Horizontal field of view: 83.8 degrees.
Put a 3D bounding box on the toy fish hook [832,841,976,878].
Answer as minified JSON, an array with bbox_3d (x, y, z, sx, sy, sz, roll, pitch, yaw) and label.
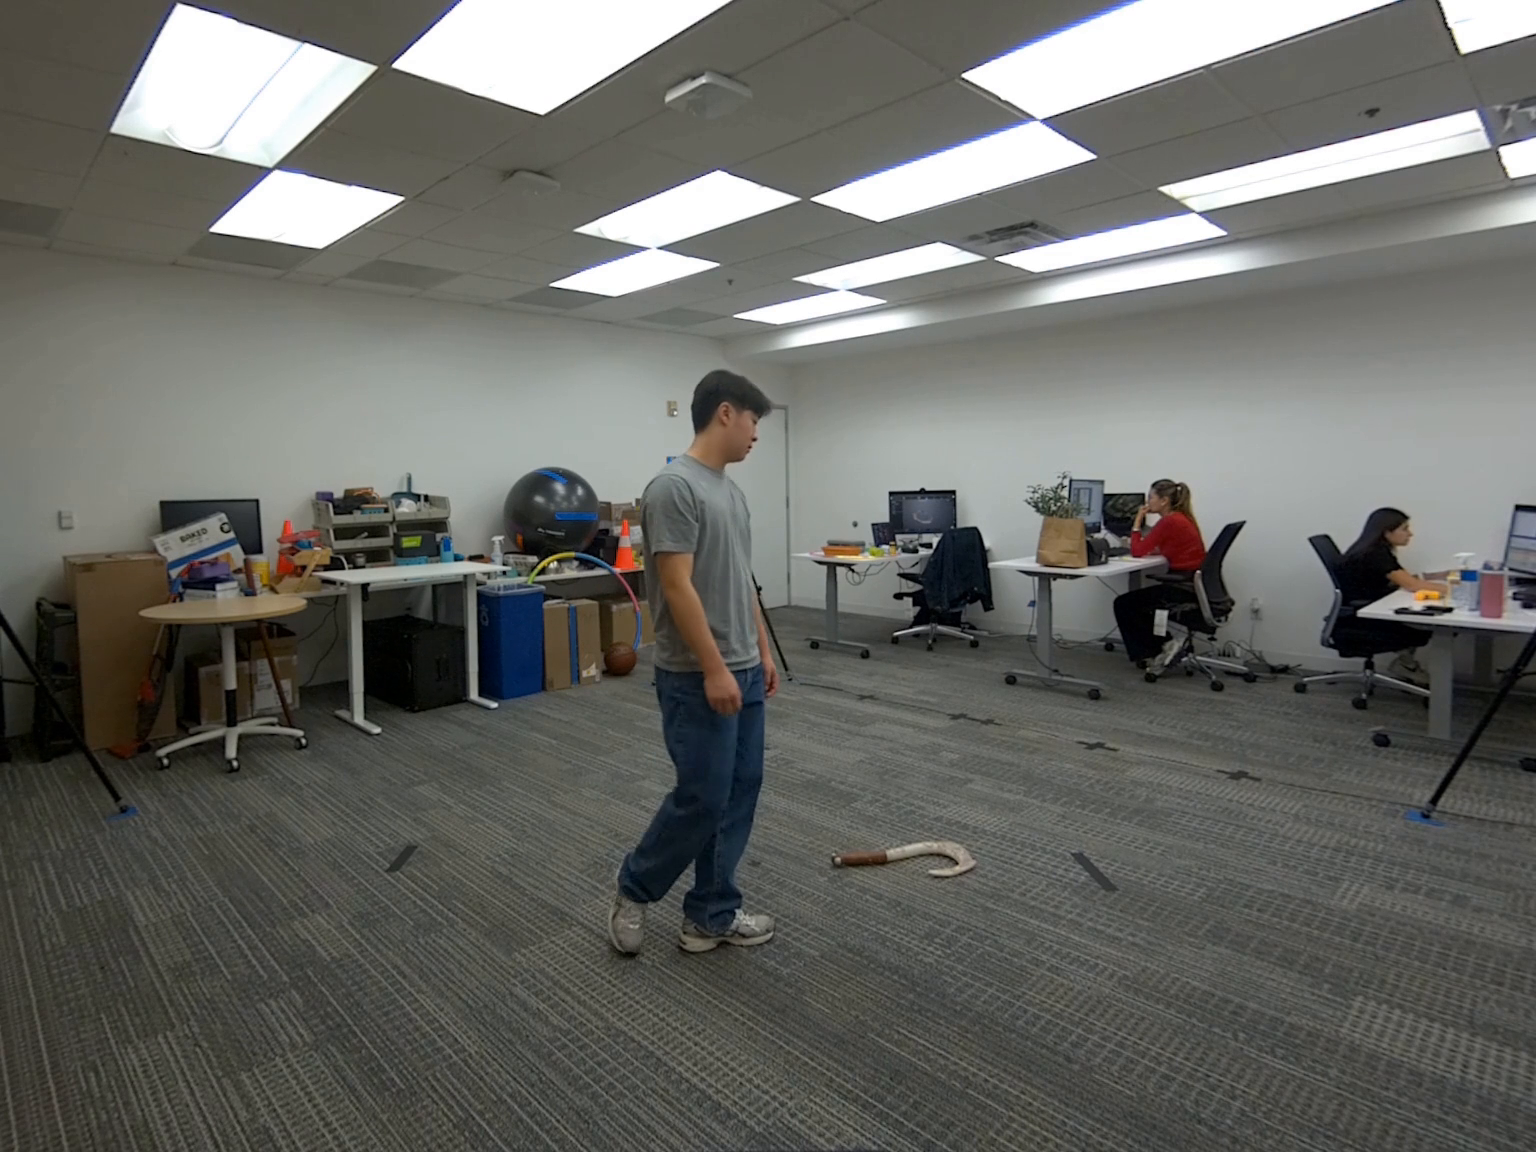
[{"bbox_3d":[0.487,1.015,3.055,0.502,0.048,0.227,-2,5,-9],"label":"toy fish hook"}]
